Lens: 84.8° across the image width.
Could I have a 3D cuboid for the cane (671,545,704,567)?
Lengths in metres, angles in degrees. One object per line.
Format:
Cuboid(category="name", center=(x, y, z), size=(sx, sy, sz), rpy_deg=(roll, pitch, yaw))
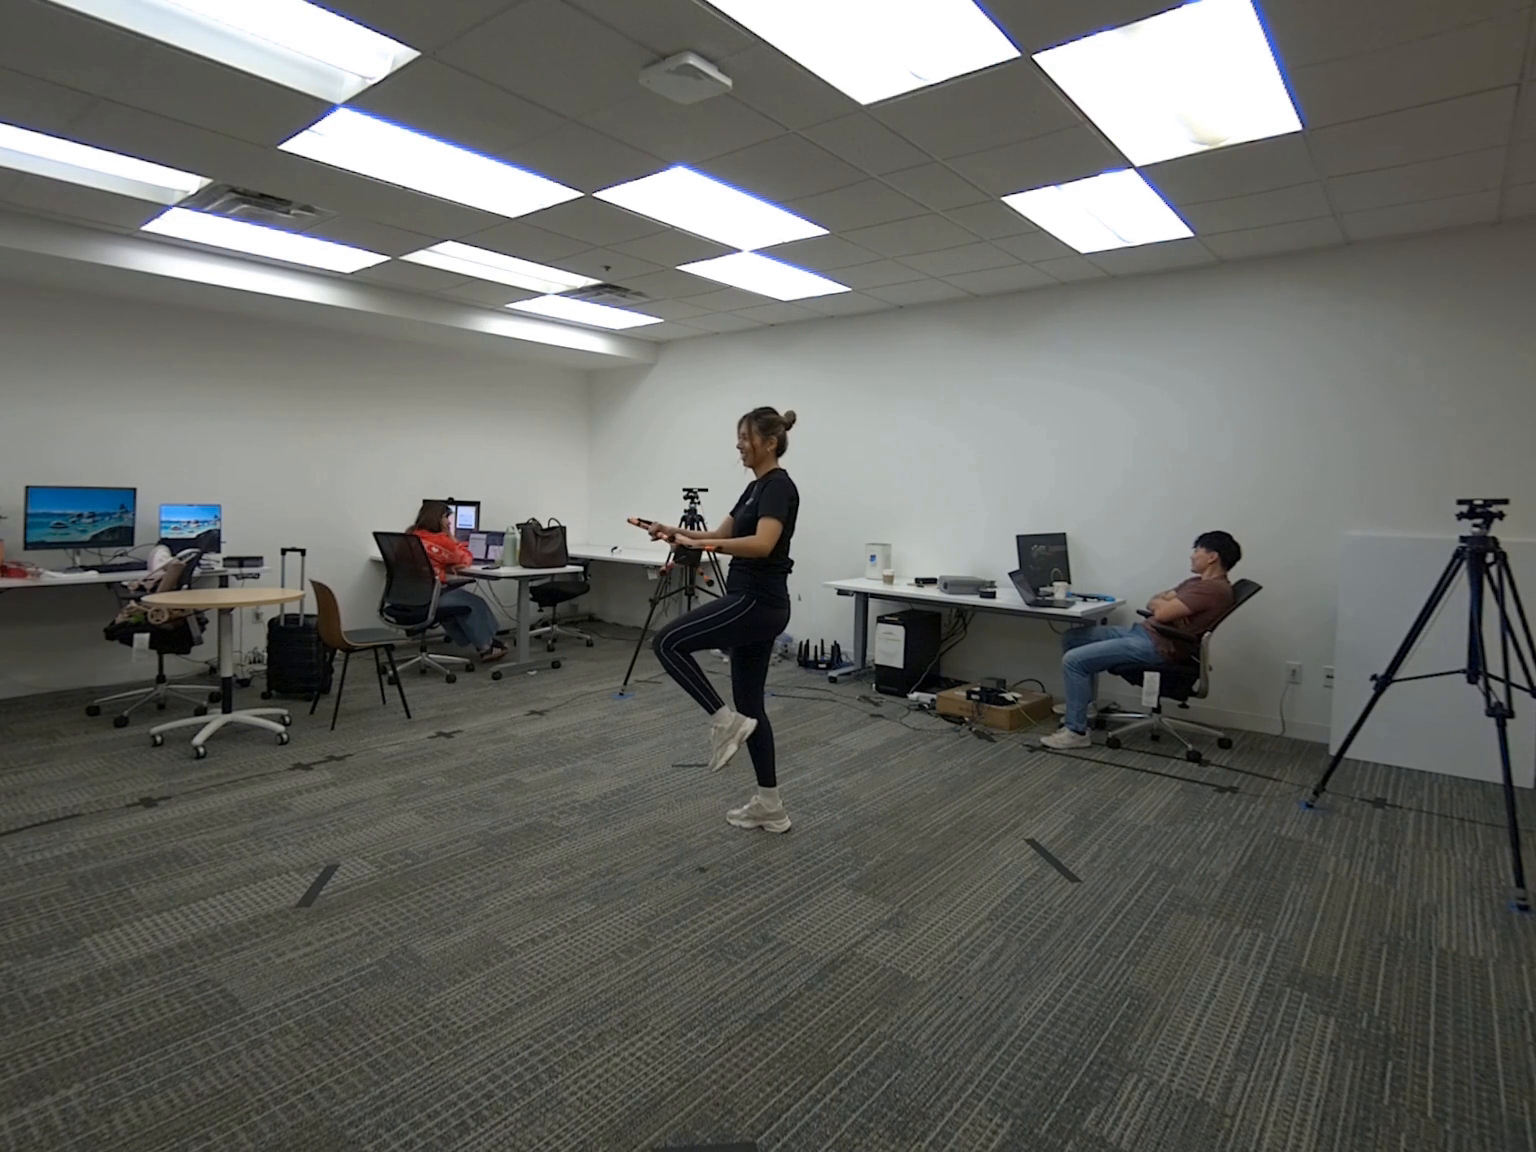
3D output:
Cuboid(category="cane", center=(-0.423, -0.137, 3.374), size=(0.201, 0.151, 0.935), rpy_deg=(13, 6, -23))
